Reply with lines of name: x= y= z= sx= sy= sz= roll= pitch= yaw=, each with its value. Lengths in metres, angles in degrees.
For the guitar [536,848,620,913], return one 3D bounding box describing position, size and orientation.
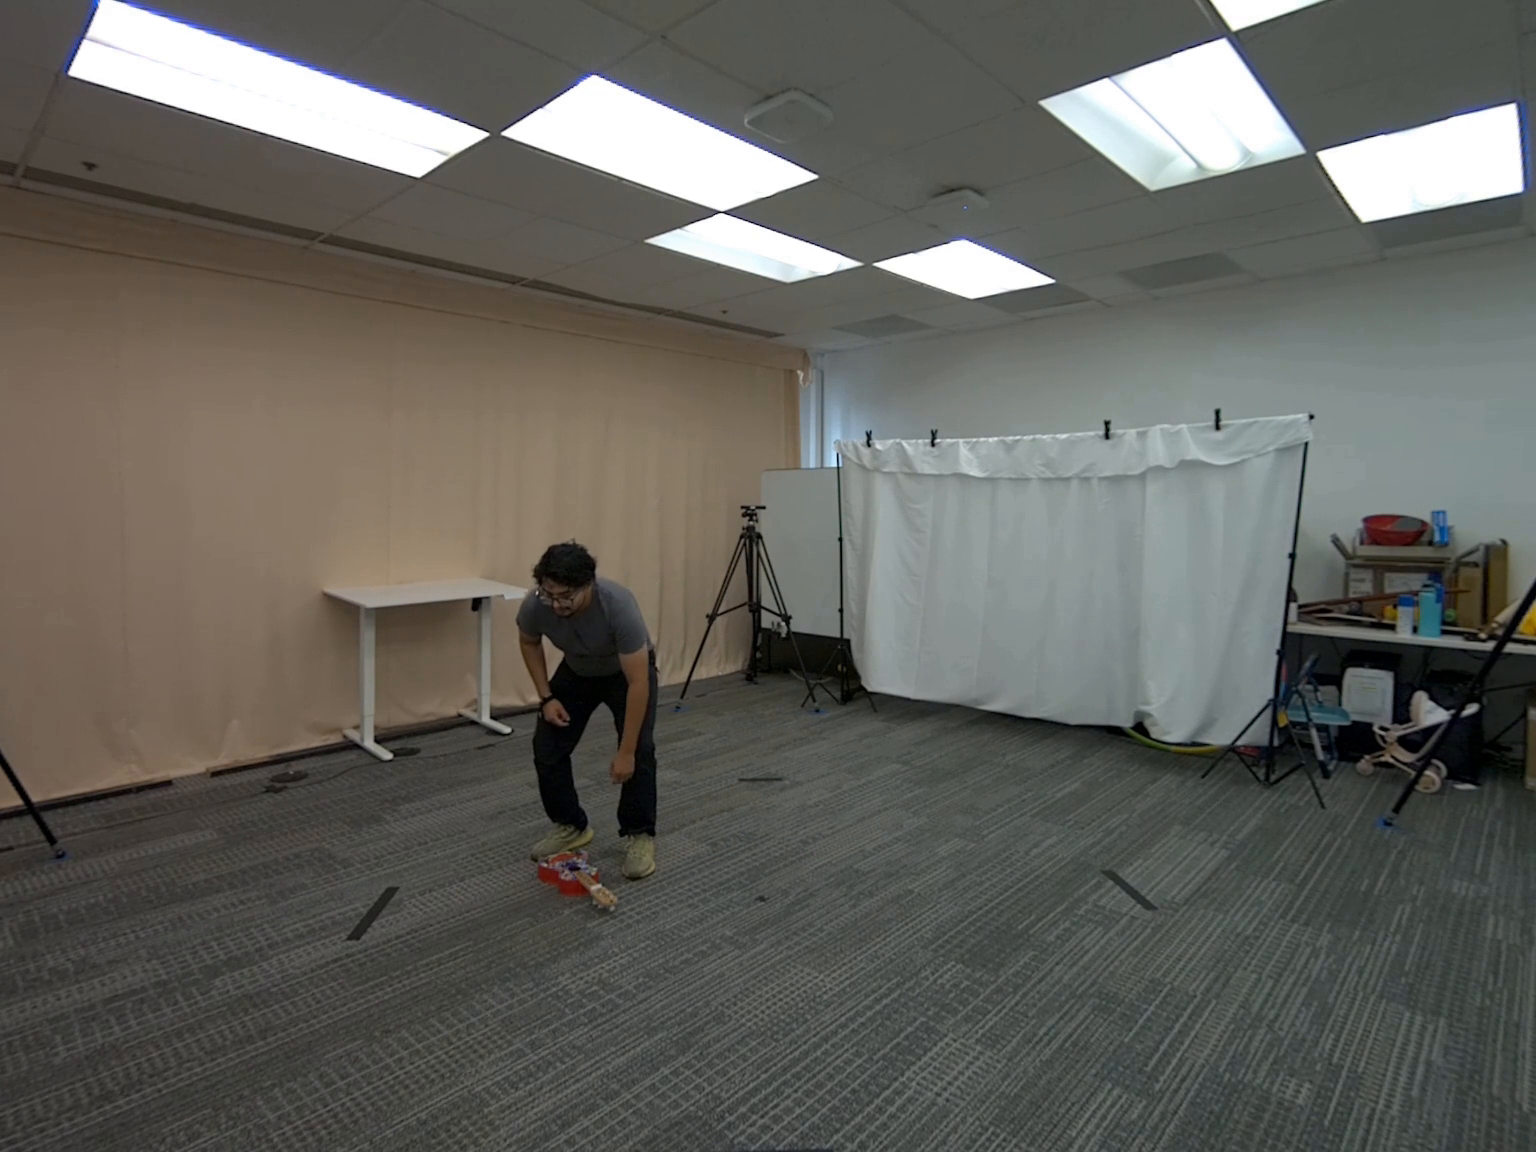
guitar: x=-0.697 y=1.113 z=3.033 sx=0.188 sy=0.070 sz=0.511 roll=-3 pitch=5 yaw=-25
